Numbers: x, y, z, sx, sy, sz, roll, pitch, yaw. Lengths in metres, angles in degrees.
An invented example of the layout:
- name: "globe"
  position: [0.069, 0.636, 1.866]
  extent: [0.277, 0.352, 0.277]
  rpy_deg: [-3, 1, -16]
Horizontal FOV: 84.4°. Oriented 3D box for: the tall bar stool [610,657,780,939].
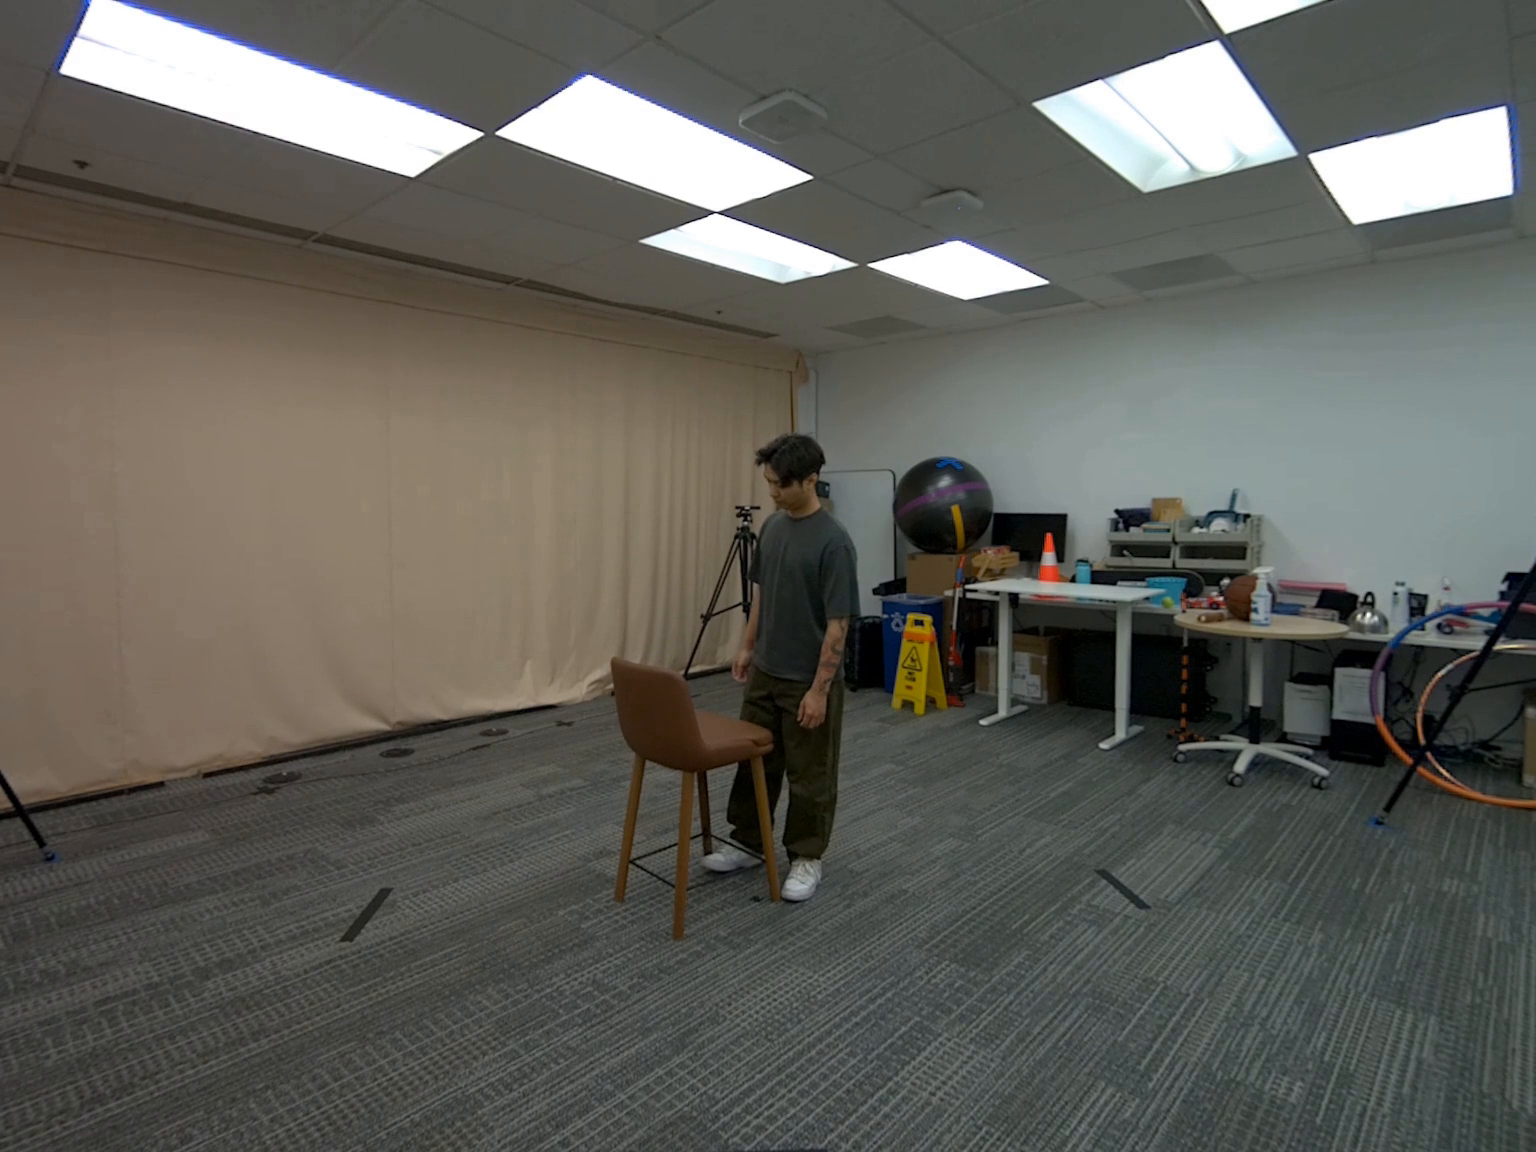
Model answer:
- name: "tall bar stool"
  position: [-0.259, 0.711, 2.950]
  extent: [0.454, 0.887, 0.471]
  rpy_deg: [-6, 6, -41]
